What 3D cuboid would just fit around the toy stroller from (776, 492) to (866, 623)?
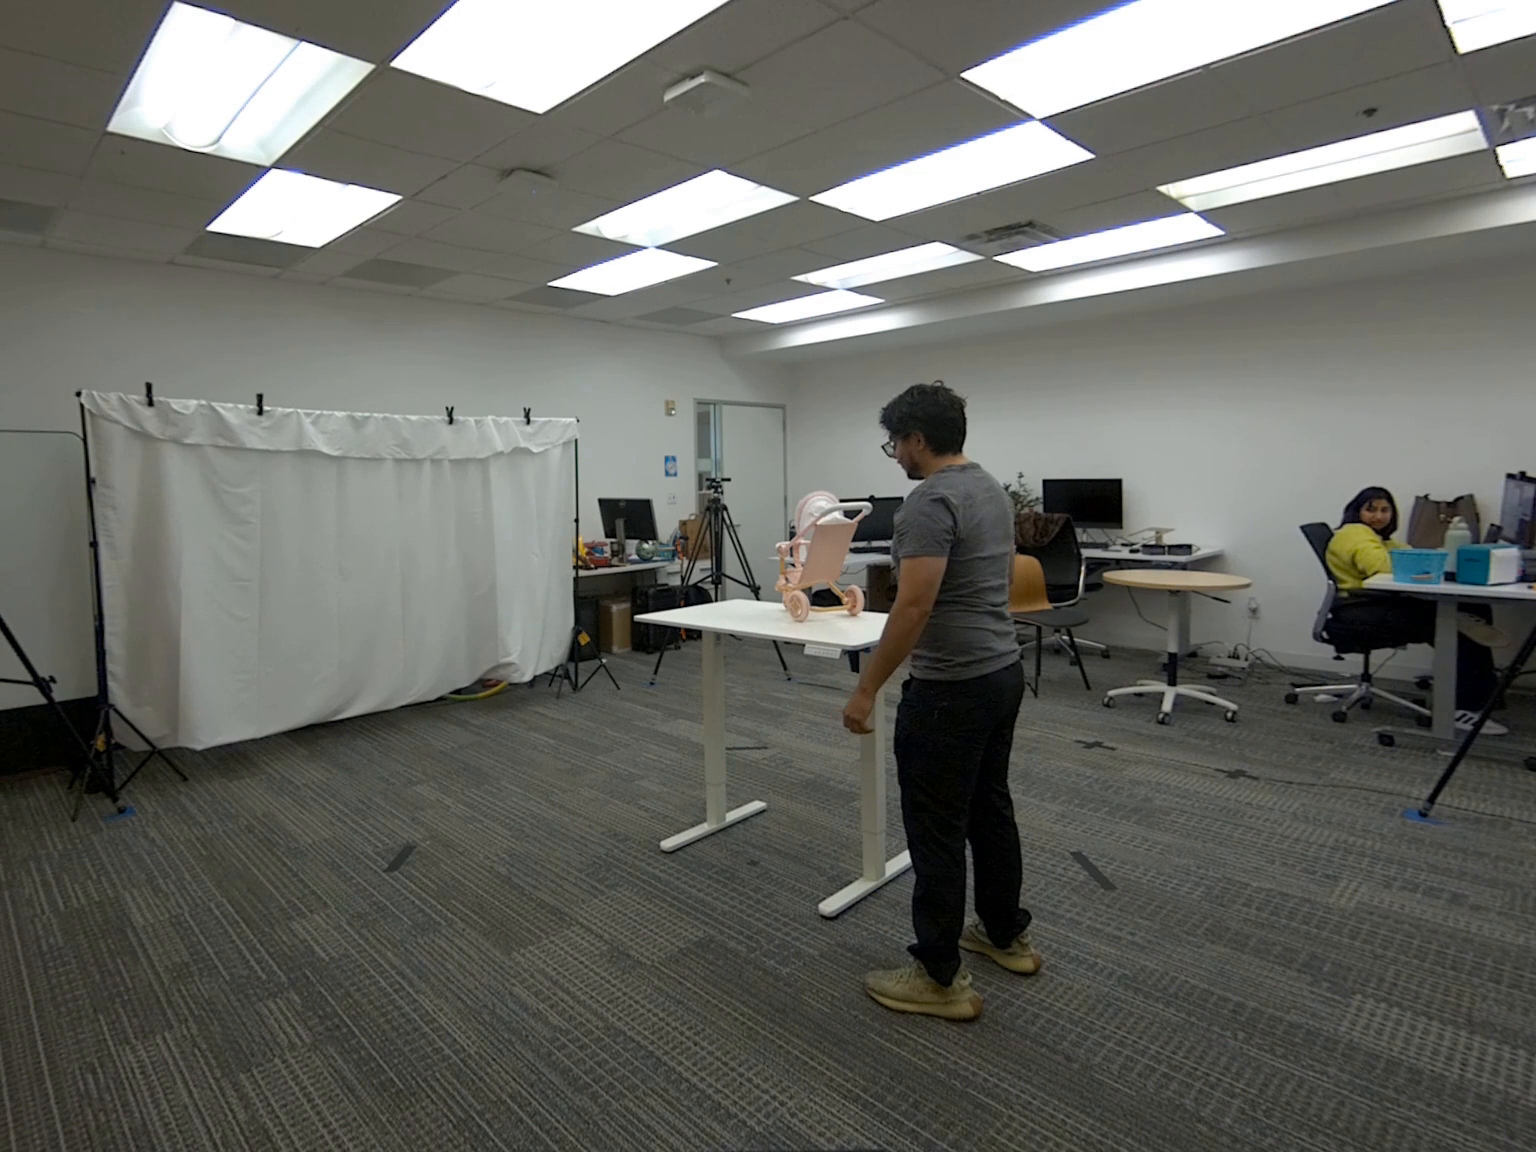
[{"bbox_3d":[0.180,-0.071,3.144,0.275,0.527,0.354,-3,22,-26],"label":"toy stroller"}]
